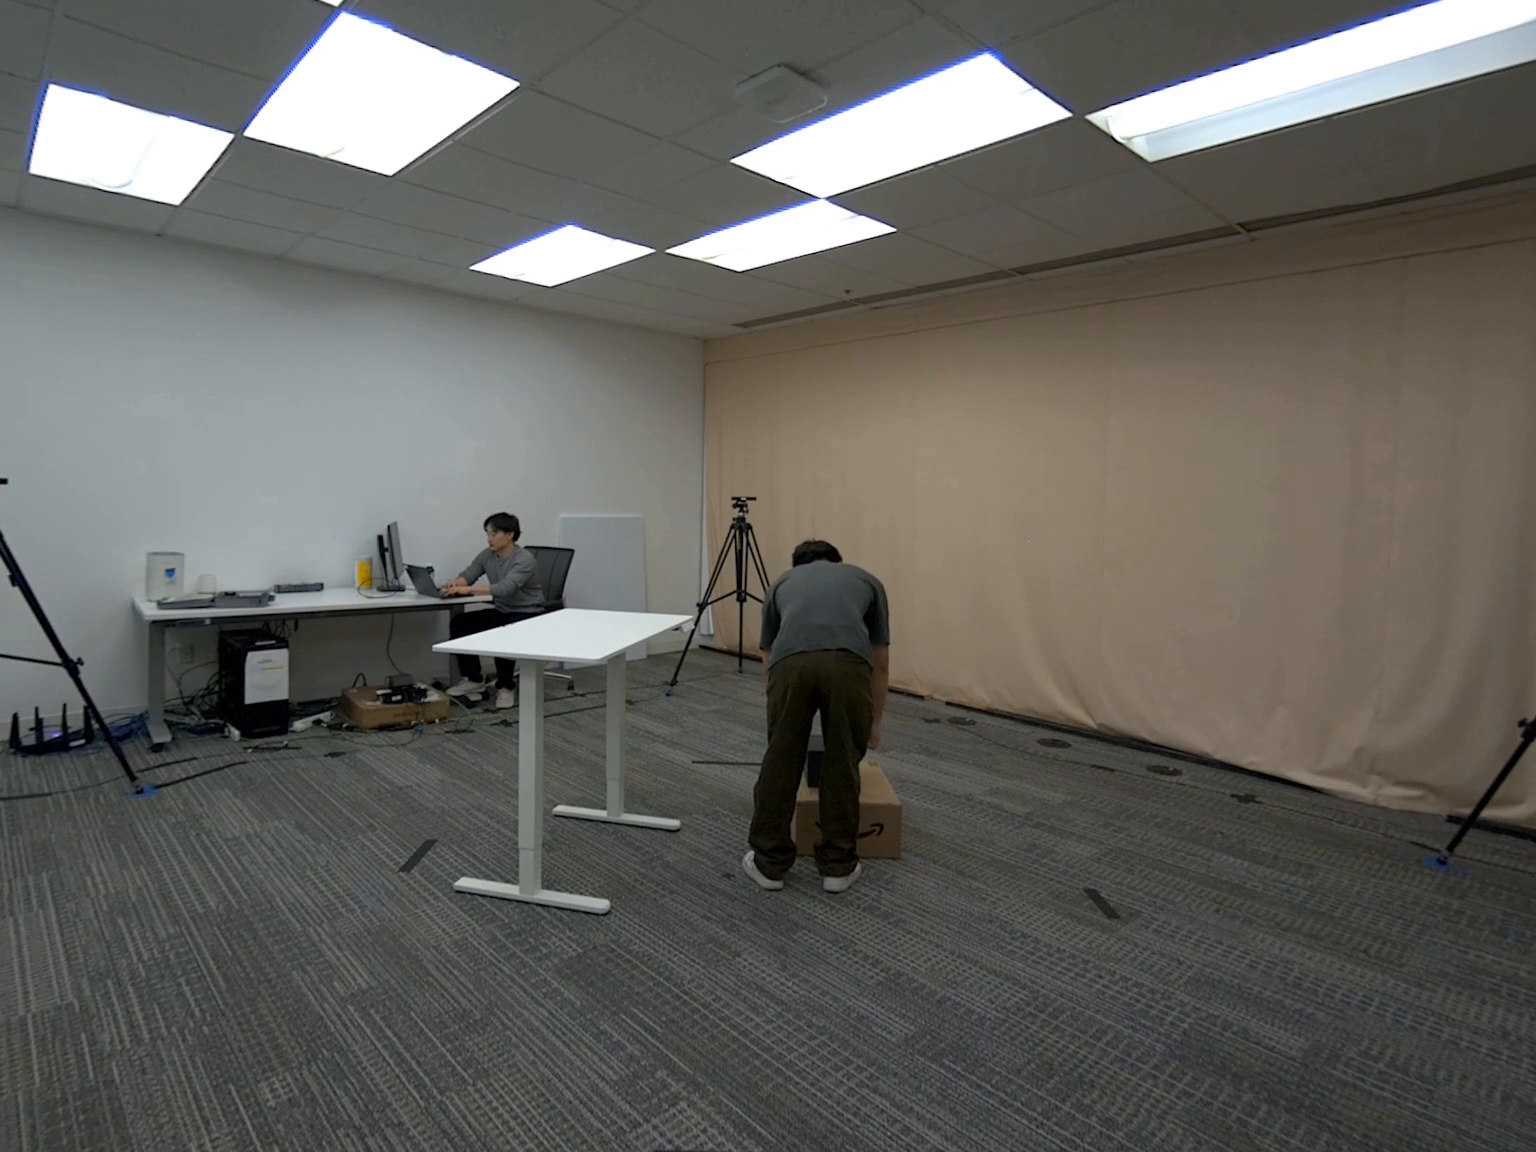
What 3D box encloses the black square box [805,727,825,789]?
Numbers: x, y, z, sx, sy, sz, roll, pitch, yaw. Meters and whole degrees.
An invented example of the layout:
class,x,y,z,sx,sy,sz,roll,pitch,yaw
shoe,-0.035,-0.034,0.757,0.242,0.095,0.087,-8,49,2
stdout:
class,x,y,z,sx,sy,sz,roll,pitch,yaw
black square box,0.262,0.777,3.551,0.217,0.155,0.229,0,3,-2
